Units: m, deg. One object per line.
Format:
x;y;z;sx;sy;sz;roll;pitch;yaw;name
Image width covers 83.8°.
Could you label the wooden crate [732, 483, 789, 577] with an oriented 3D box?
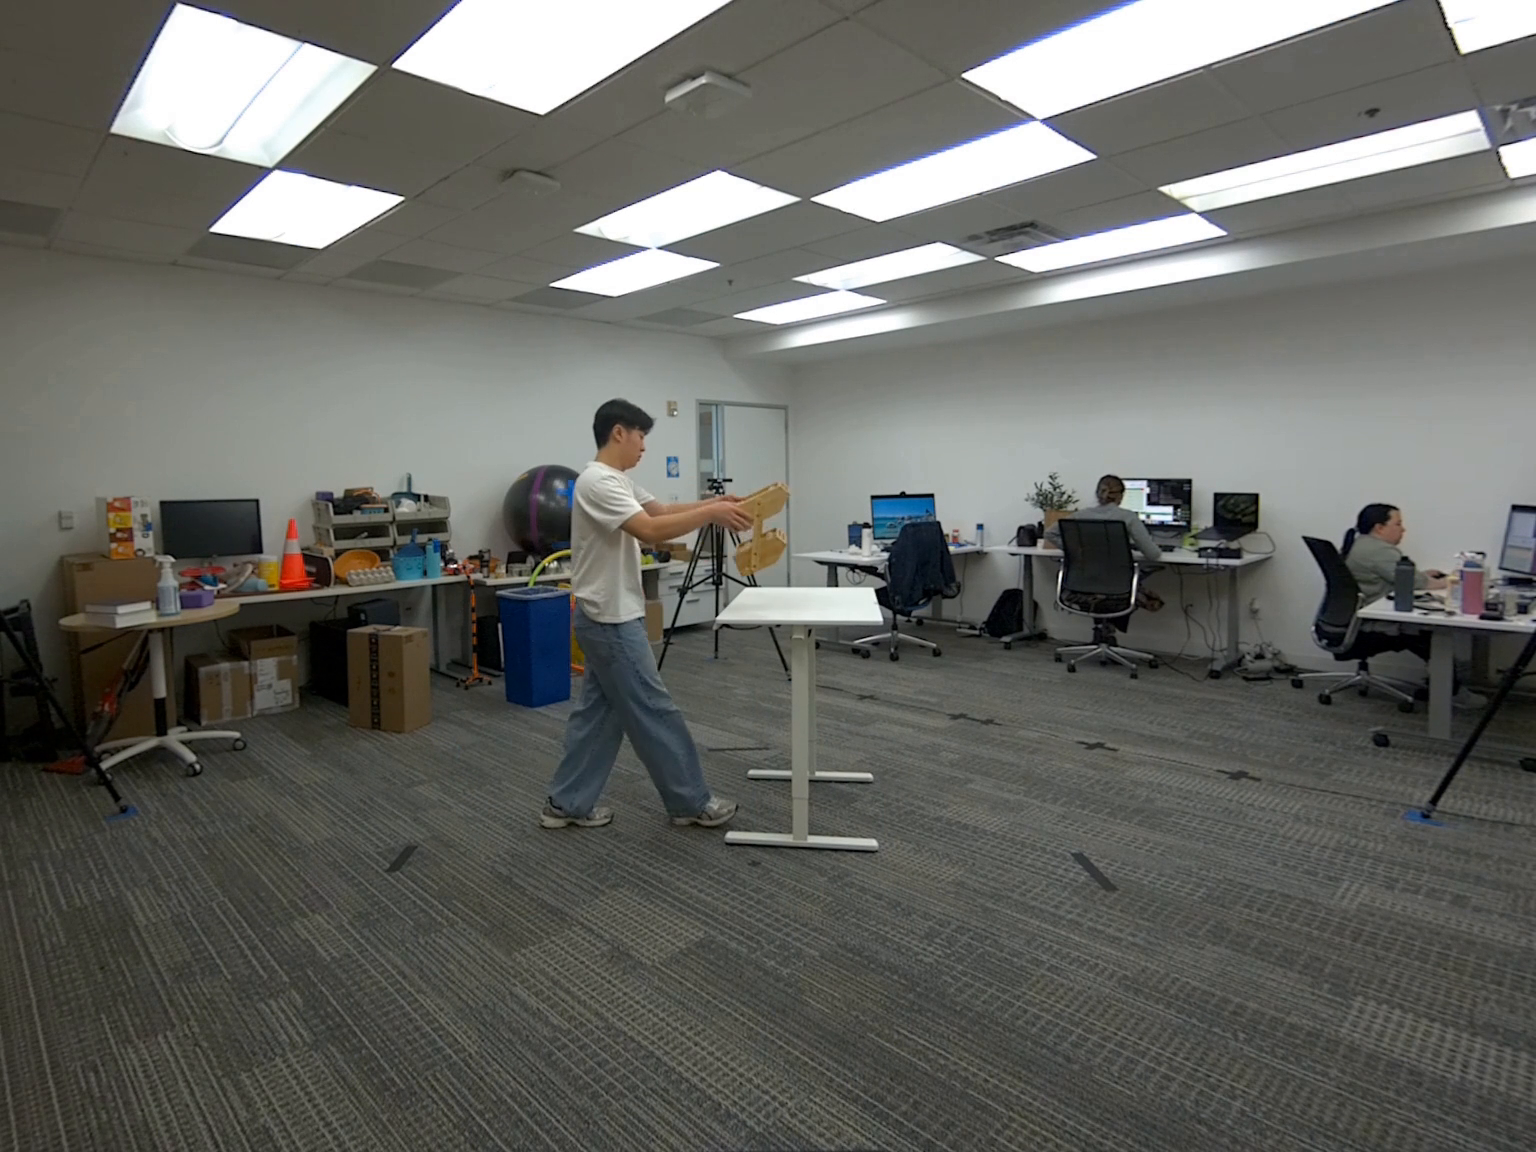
-0.018;-0.178;3.394;0.302;0.272;0.326;-26;5;1;wooden crate
